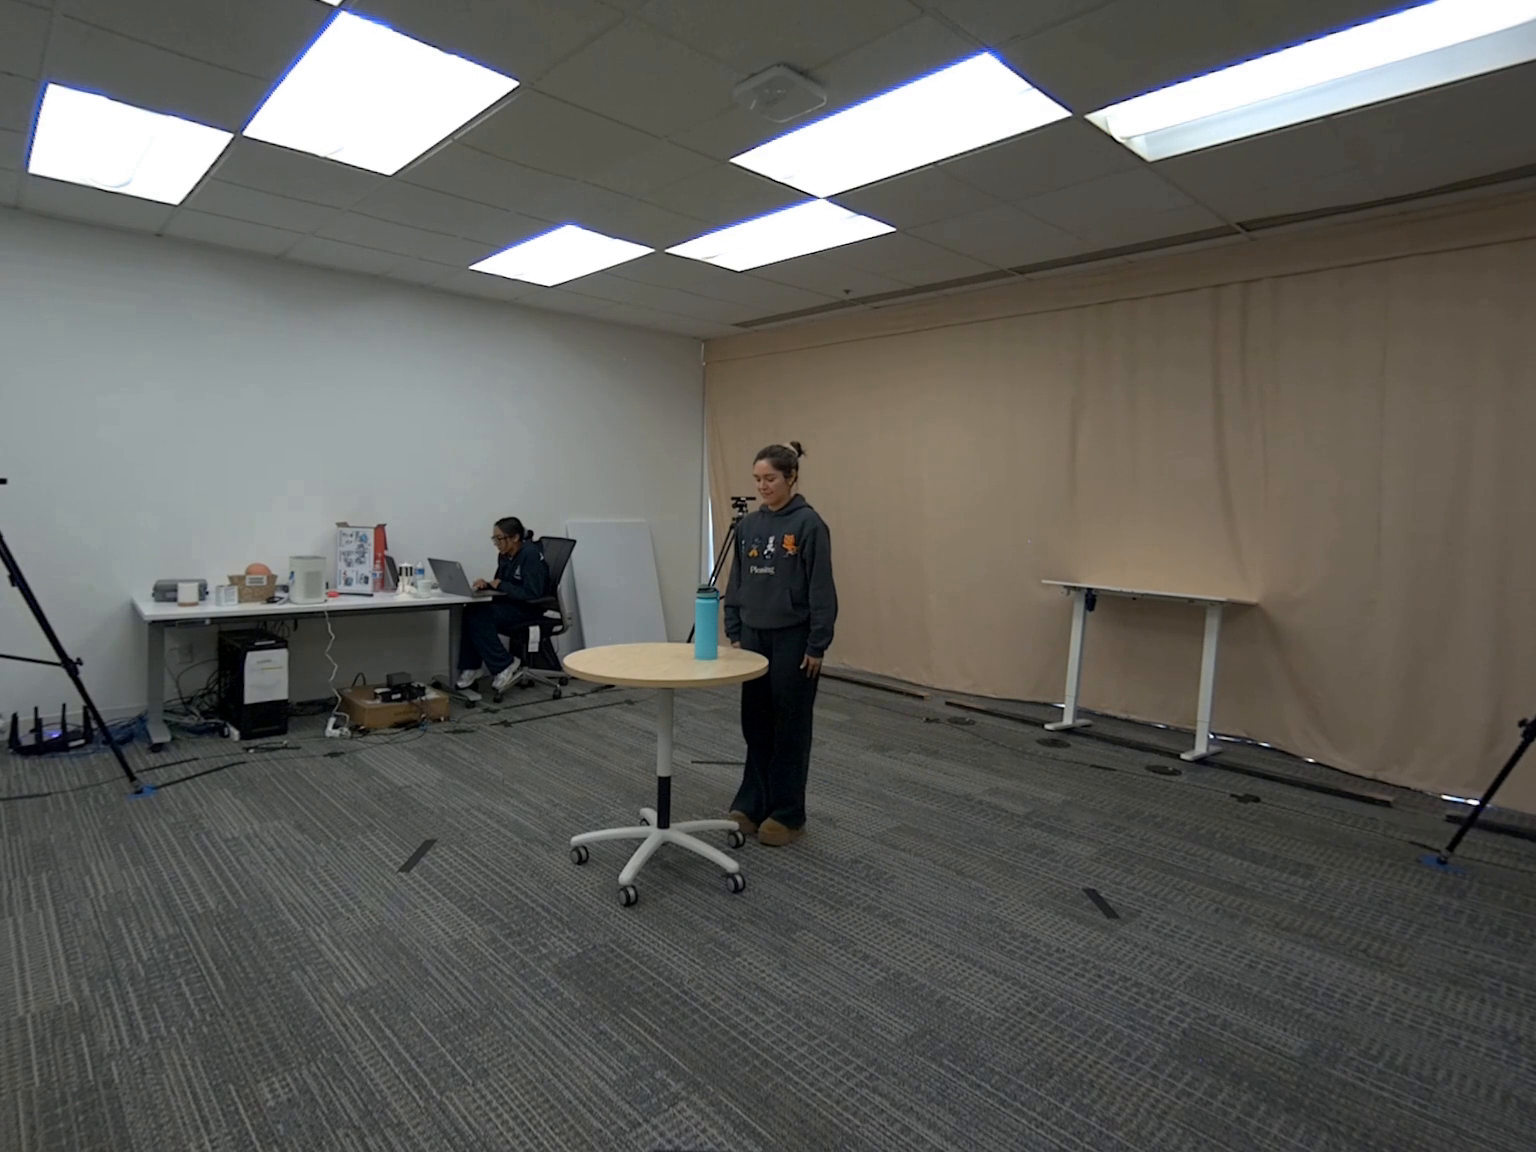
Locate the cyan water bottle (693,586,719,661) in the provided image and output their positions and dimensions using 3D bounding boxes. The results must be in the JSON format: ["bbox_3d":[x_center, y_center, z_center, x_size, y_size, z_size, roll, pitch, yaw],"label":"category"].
[{"bbox_3d":[-0.241,0.173,3.212,0.092,0.283,0.092,3,2,-2],"label":"cyan water bottle"}]
